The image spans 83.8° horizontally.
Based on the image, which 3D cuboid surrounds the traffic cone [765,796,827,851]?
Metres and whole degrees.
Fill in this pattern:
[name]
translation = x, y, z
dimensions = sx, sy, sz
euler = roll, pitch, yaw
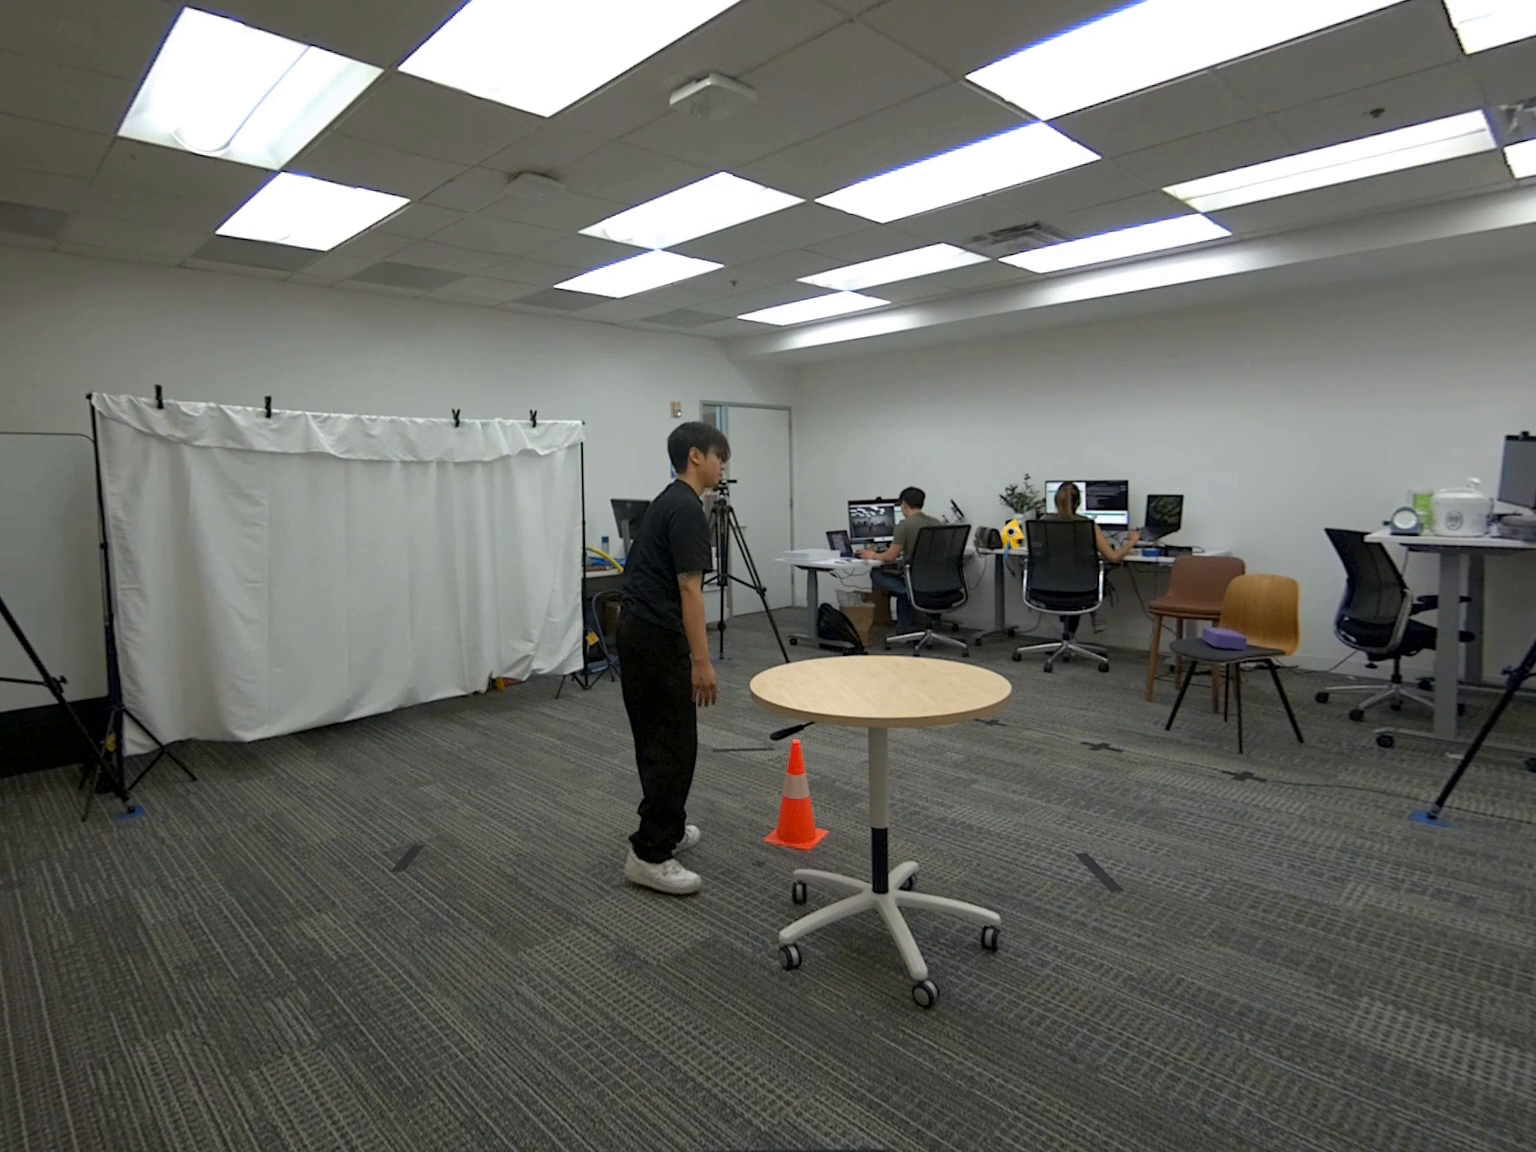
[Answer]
[traffic cone]
translation = 0.100, 0.833, 3.332
dimensions = 0.208, 0.382, 0.201
euler = -1, 4, 27
